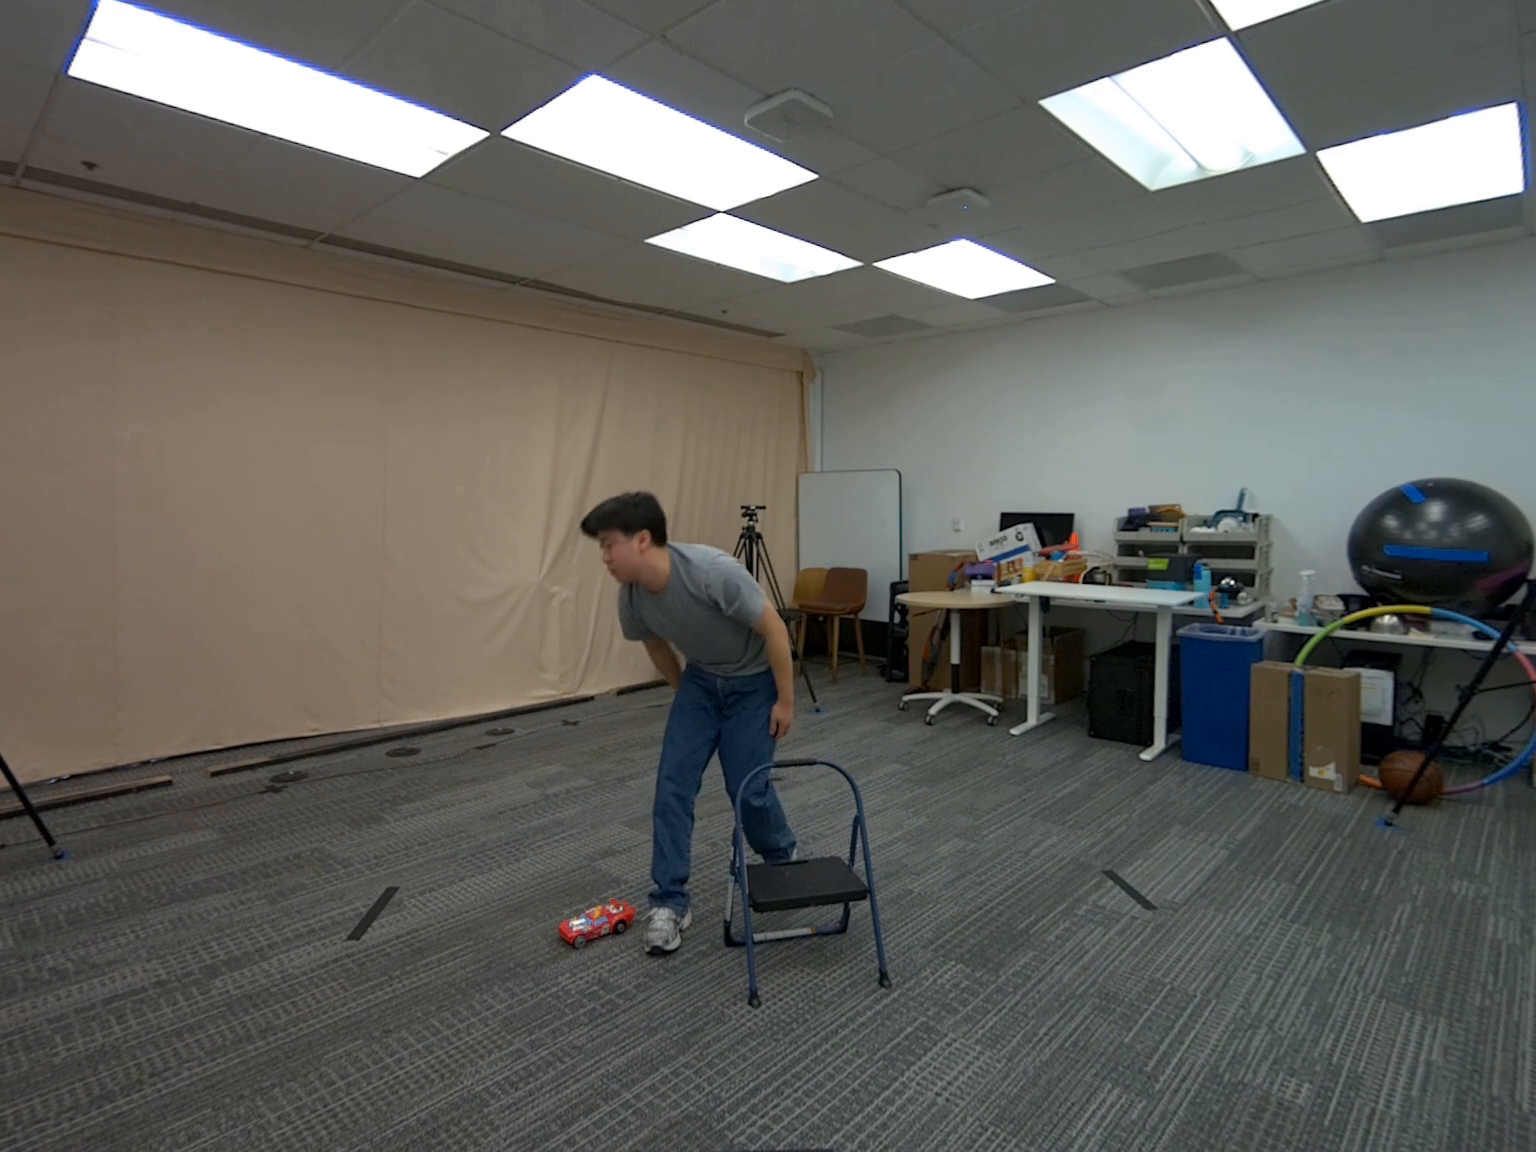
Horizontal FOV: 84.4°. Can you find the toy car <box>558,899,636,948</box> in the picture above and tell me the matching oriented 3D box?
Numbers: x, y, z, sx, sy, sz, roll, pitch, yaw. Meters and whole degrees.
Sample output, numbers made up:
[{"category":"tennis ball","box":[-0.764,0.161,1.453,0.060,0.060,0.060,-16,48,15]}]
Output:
[{"category":"toy car","box":[-0.552,1.139,2.753,0.248,0.082,0.134,-17,12,-35]}]
